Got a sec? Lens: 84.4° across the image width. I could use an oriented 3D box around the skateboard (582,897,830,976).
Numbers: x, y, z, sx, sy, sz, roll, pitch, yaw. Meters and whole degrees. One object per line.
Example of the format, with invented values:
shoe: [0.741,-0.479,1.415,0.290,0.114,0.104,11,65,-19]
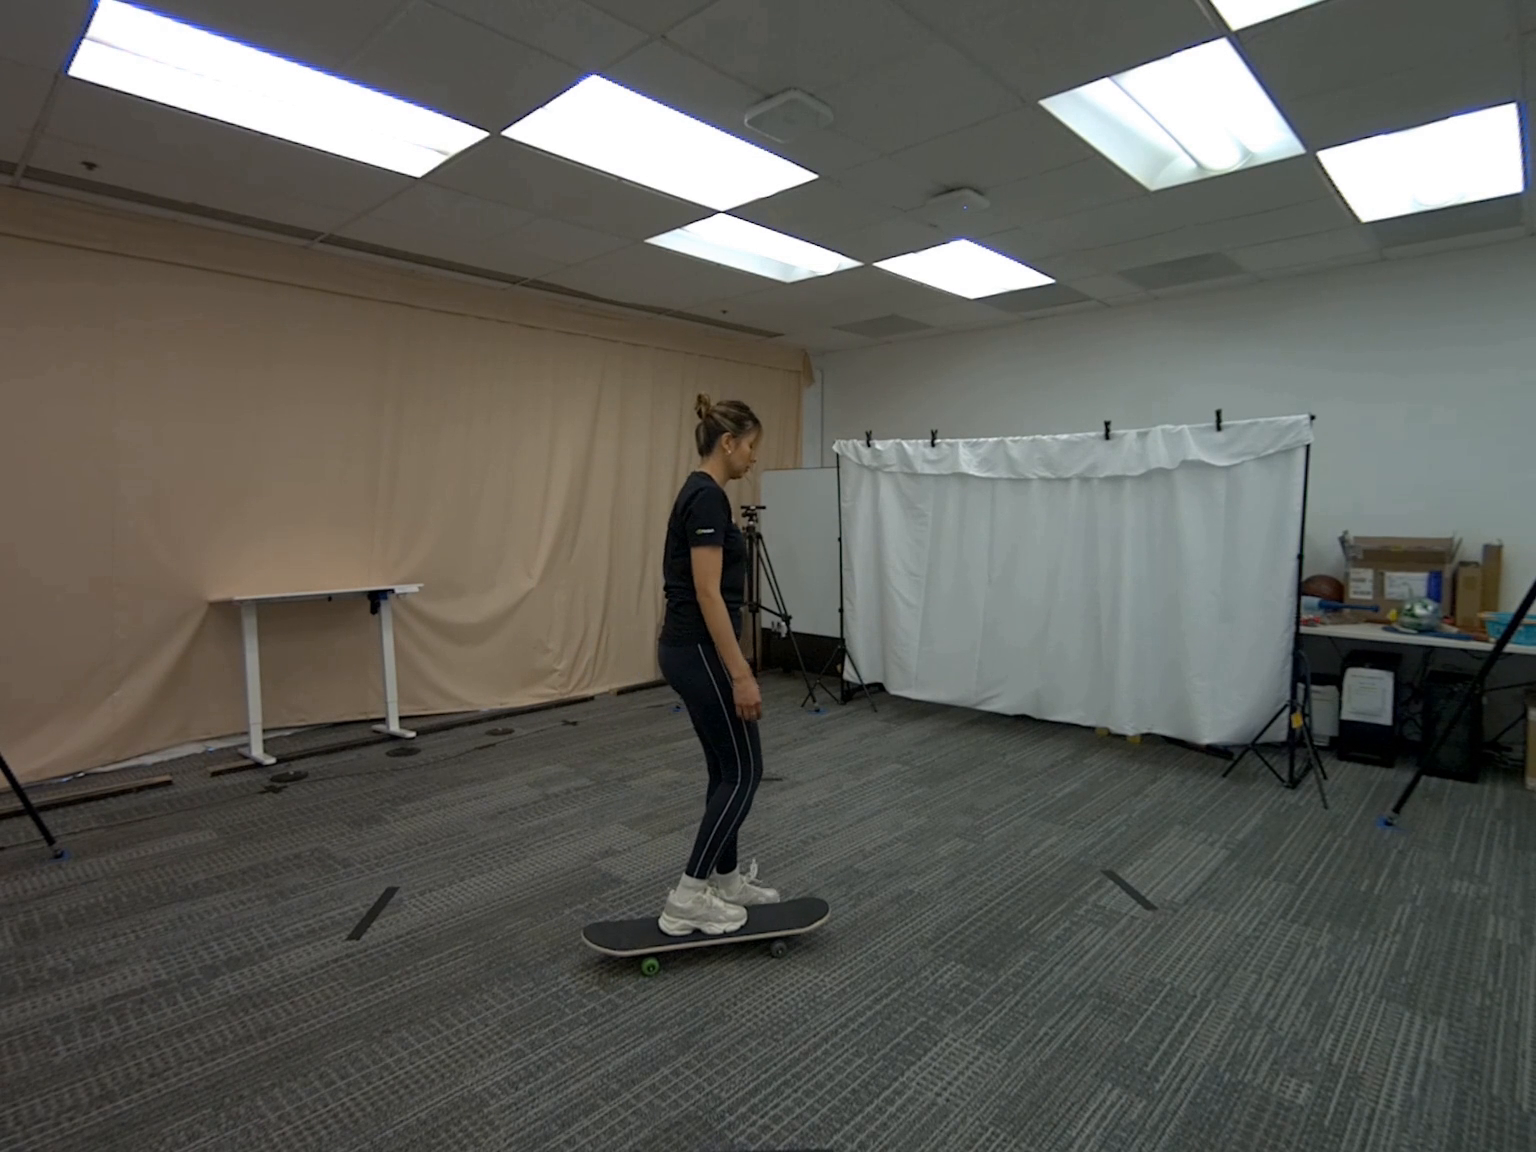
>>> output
skateboard: [-0.178,1.116,2.623,0.774,0.110,0.197,-1,4,-14]
